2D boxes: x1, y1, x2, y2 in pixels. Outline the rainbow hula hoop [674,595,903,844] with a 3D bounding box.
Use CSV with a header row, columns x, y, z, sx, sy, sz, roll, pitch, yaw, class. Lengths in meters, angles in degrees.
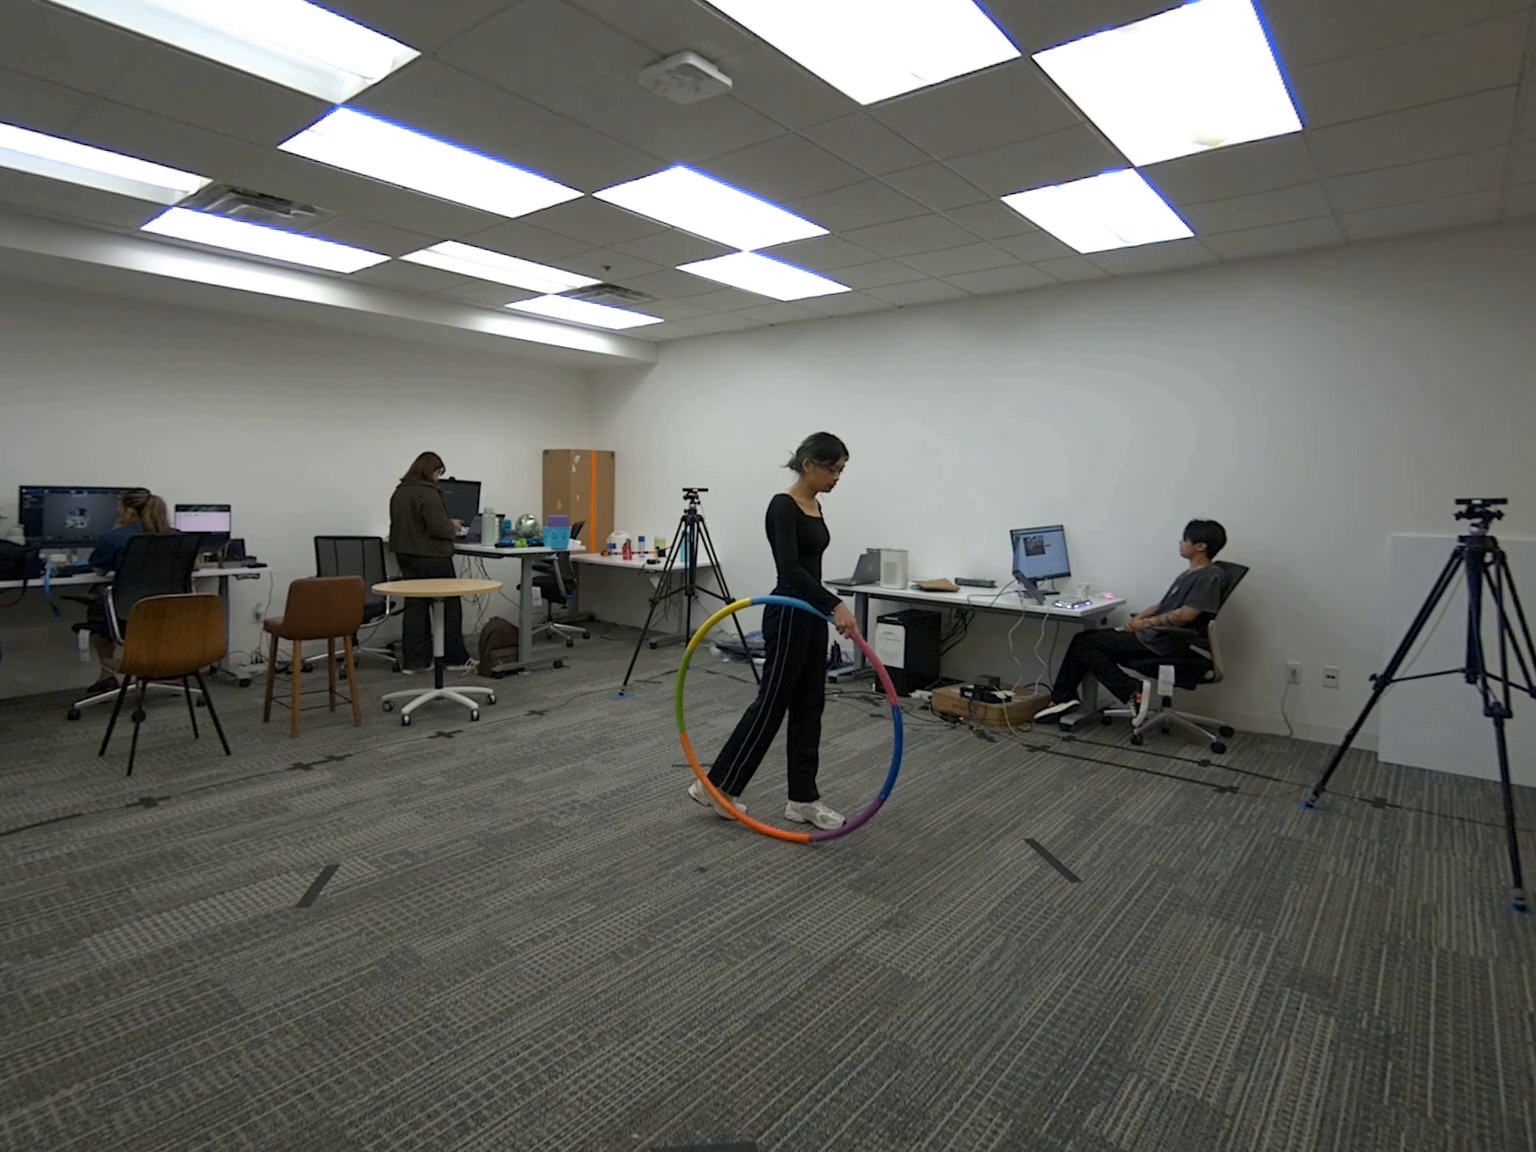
x,y,z,sx,sy,sz,roll,pitch,yaw,class
0.040,0.560,3.350,1.007,0.973,0.035,3,7,29,rainbow hula hoop
